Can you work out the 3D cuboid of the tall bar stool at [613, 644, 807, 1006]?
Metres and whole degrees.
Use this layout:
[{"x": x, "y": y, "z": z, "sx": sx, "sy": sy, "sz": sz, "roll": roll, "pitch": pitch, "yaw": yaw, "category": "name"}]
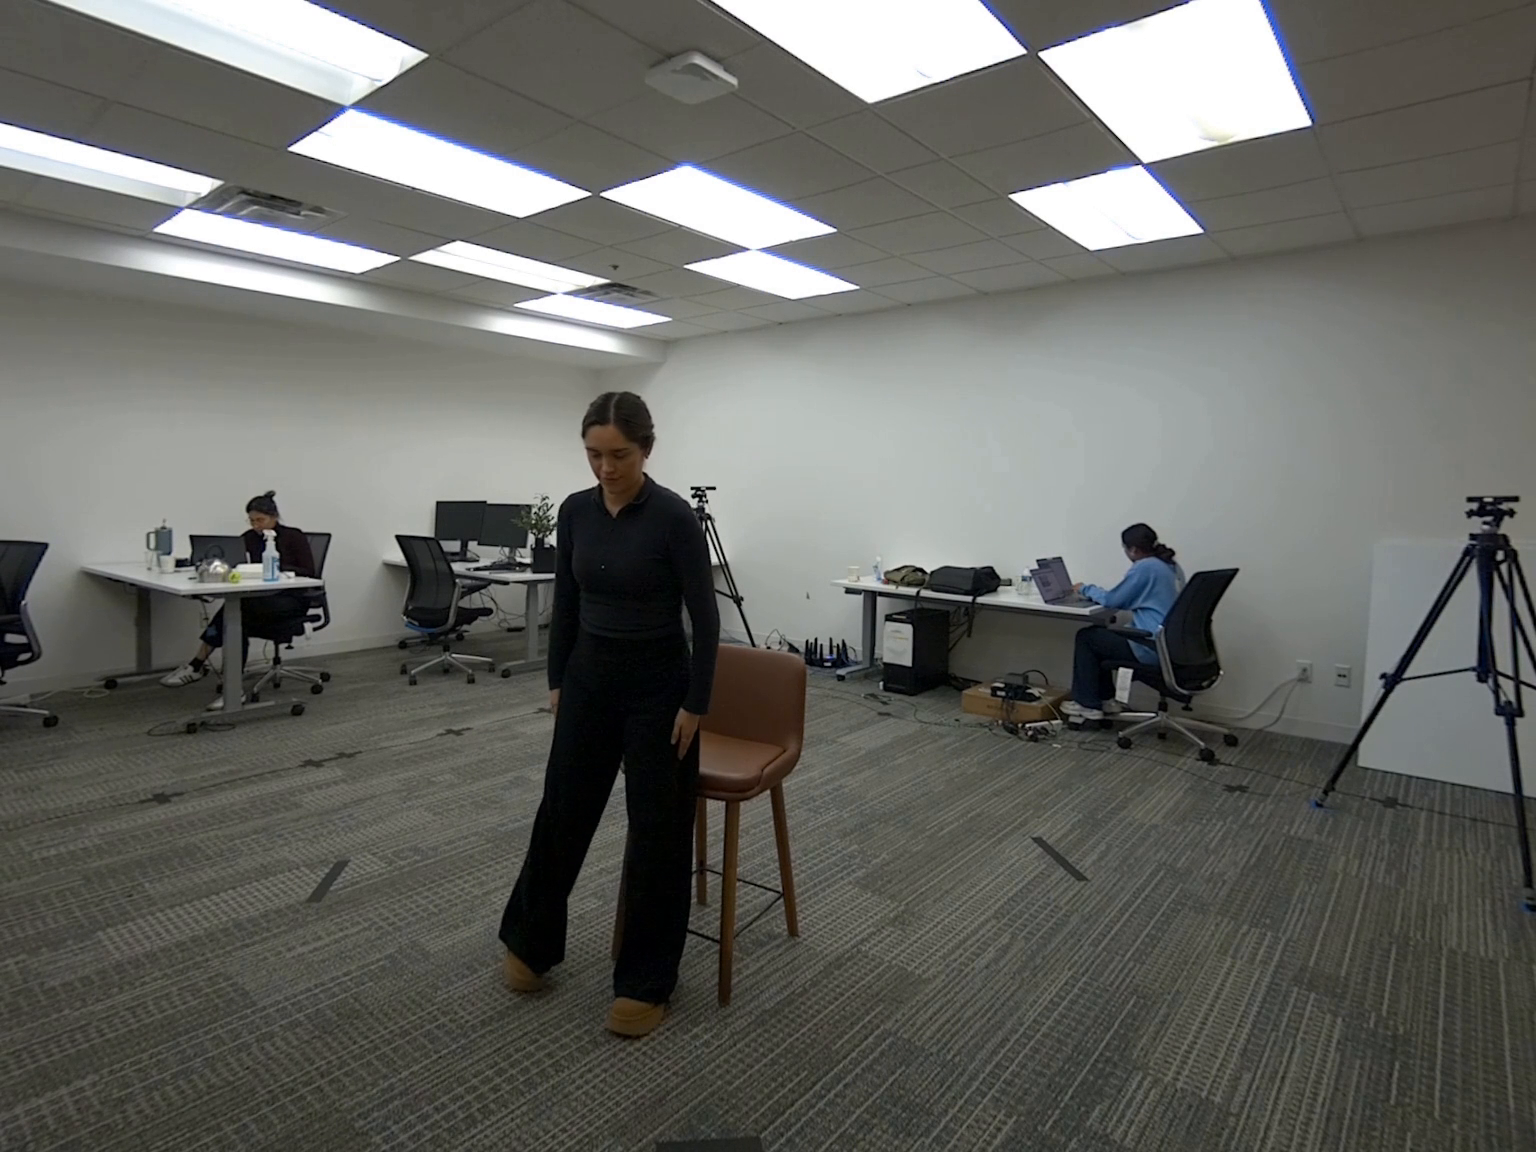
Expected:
[{"x": -0.168, "y": 0.683, "z": 2.548, "sx": 0.470, "sy": 0.888, "sz": 0.454, "roll": 3, "pitch": 3, "yaw": 31, "category": "tall bar stool"}]
